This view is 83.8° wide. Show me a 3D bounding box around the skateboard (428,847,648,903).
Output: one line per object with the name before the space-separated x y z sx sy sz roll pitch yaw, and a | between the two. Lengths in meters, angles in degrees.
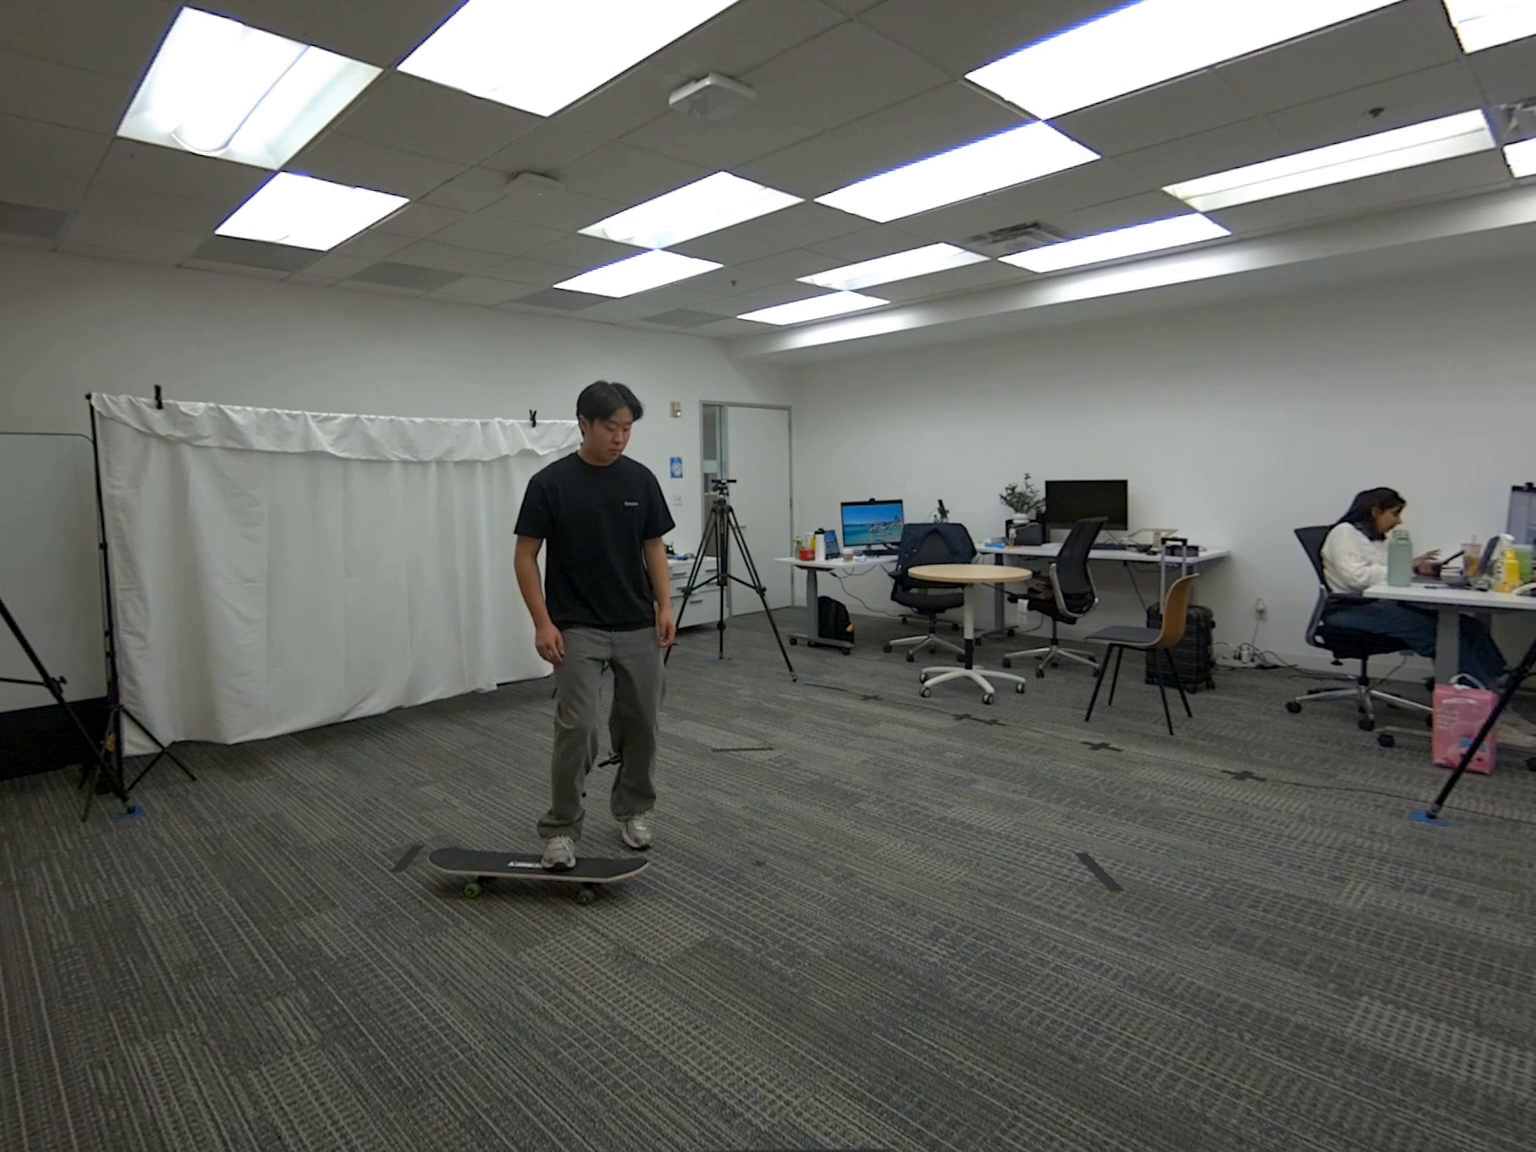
skateboard | -0.793 1.022 2.945 0.793 0.110 0.192 0 3 10
